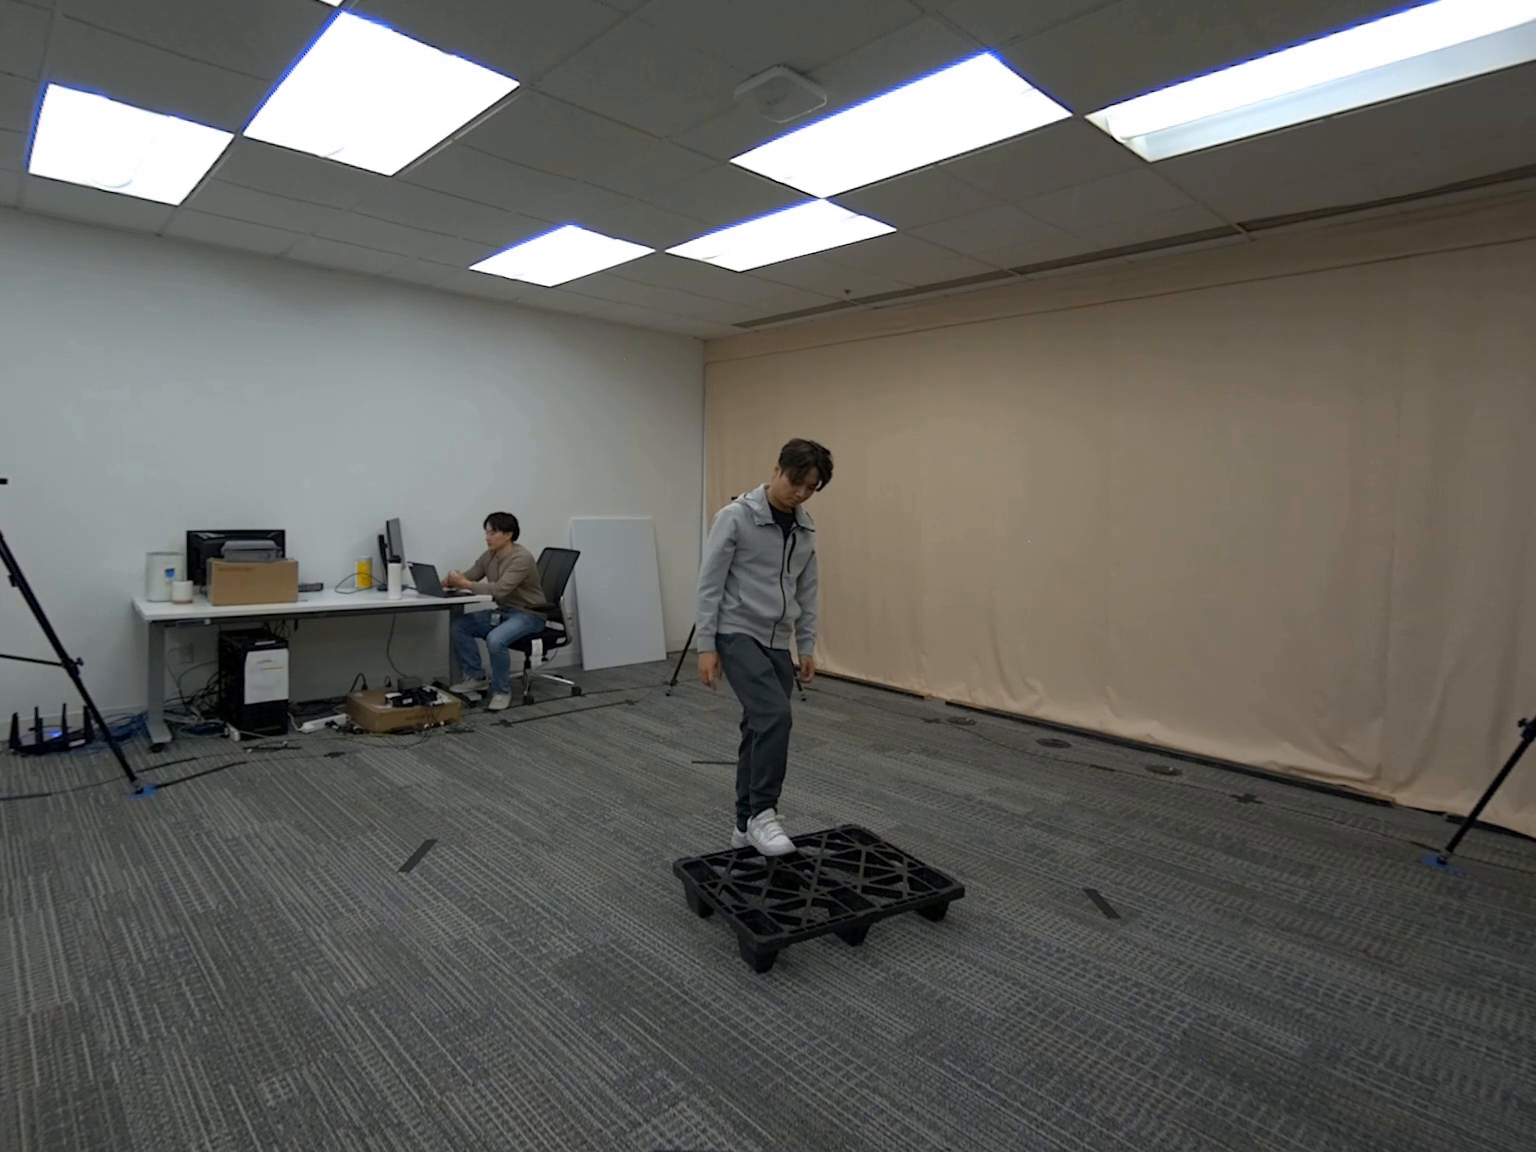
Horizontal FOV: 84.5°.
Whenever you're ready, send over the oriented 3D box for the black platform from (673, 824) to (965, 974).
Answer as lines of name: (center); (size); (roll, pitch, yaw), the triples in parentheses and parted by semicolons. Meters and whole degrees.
black platform: (0.147, 1.071, 2.843); (0.789, 0.143, 0.619); (-2, 5, -30)
